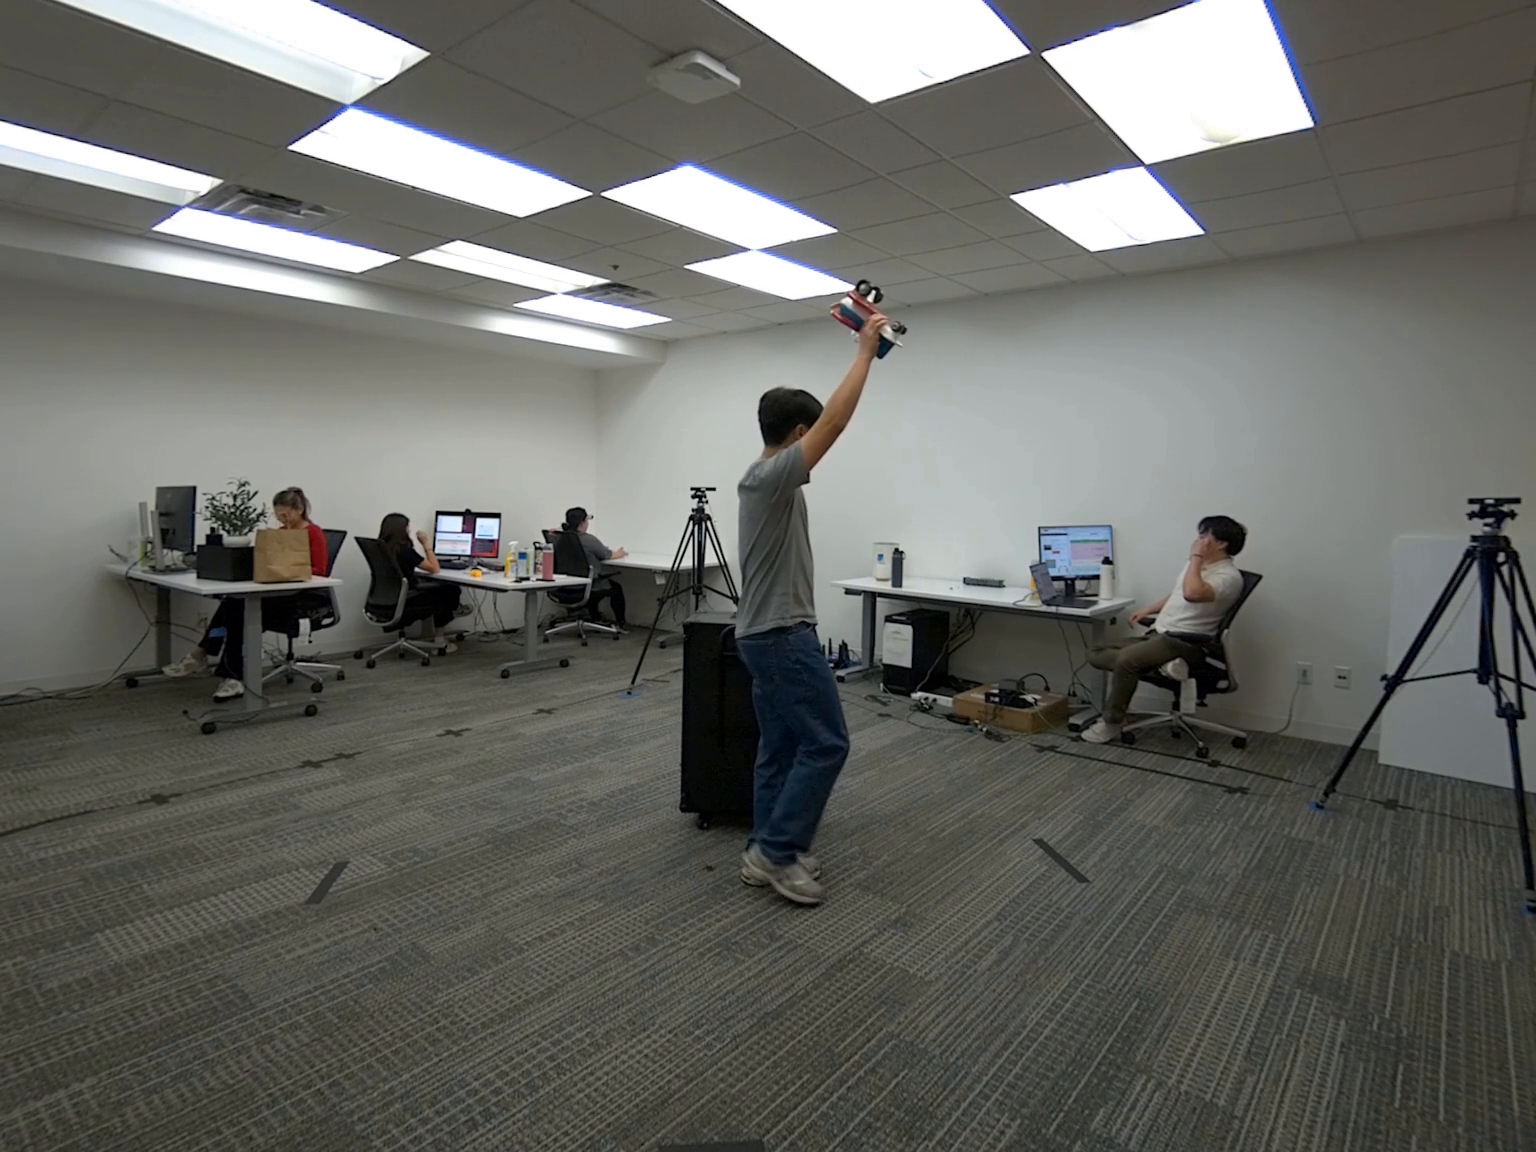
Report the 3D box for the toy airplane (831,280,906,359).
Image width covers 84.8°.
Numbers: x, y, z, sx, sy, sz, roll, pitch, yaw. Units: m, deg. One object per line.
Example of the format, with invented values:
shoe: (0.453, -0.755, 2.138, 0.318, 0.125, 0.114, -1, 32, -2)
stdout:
toy airplane: (0.332, -0.852, 2.820, 0.241, 0.268, 0.157, 29, -56, -35)
